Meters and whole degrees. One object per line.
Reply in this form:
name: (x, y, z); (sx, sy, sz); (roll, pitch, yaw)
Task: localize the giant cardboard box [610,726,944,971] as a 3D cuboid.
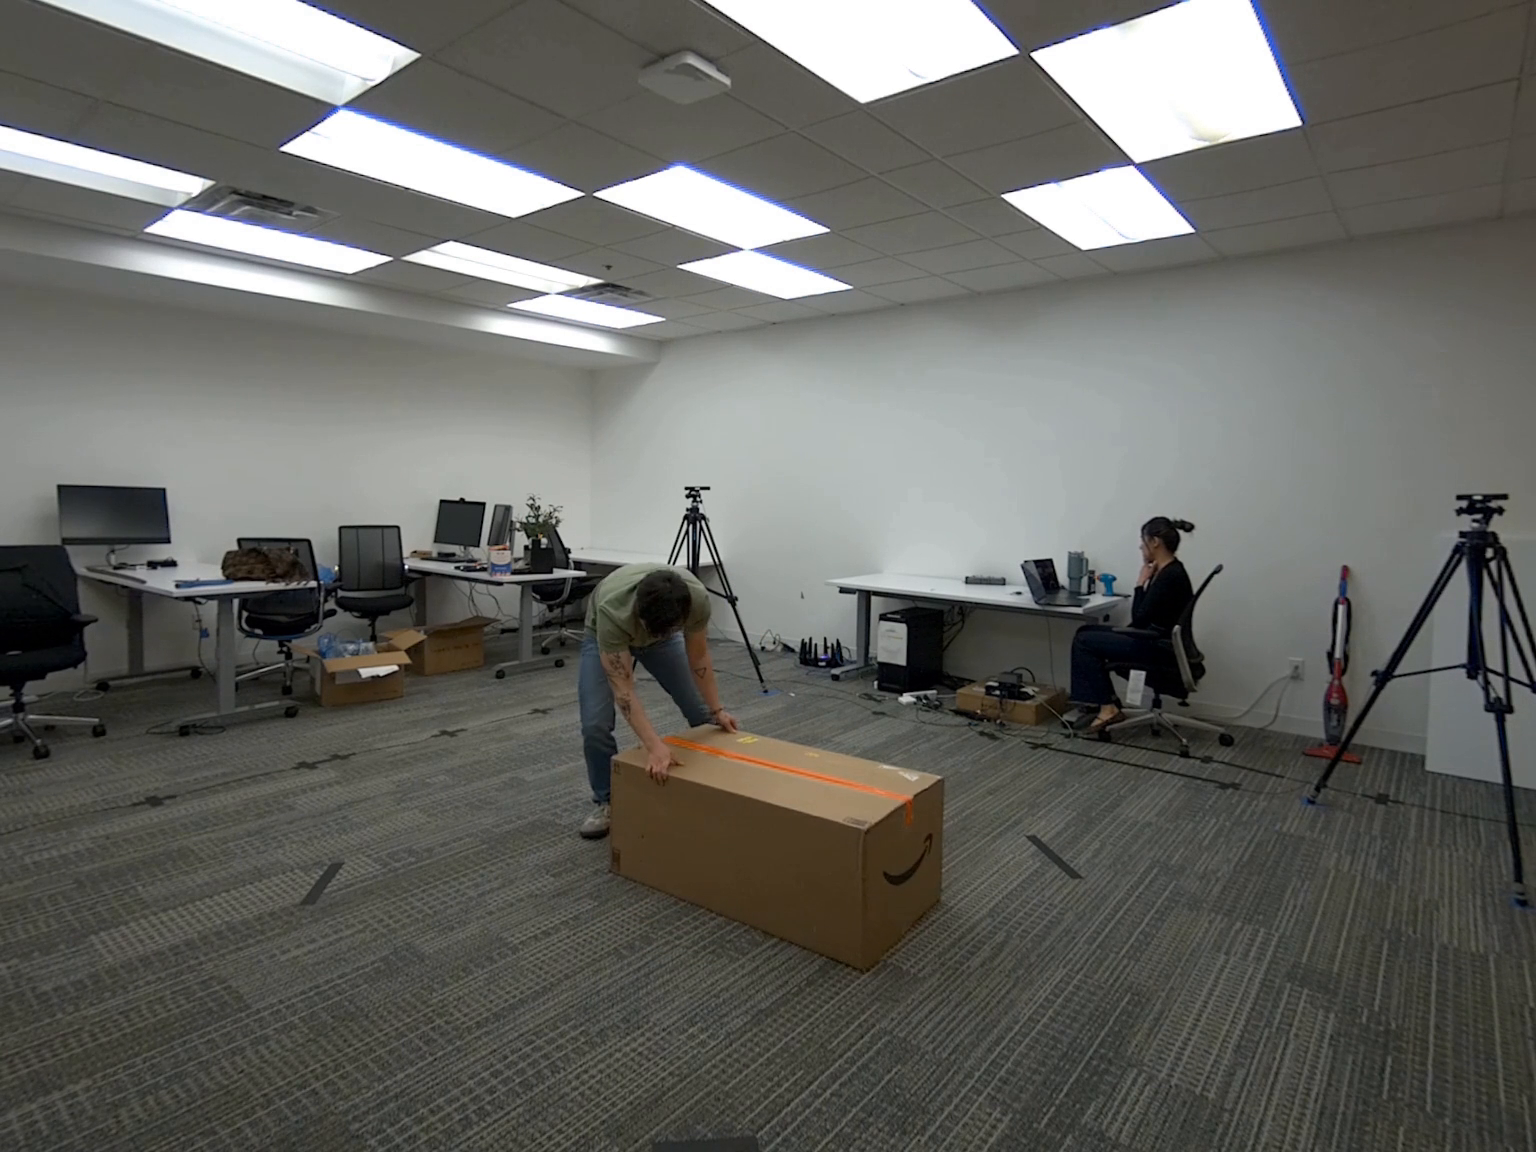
giant cardboard box: (0.008, 0.869, 2.971); (1.059, 0.425, 0.561); (4, 5, 35)
